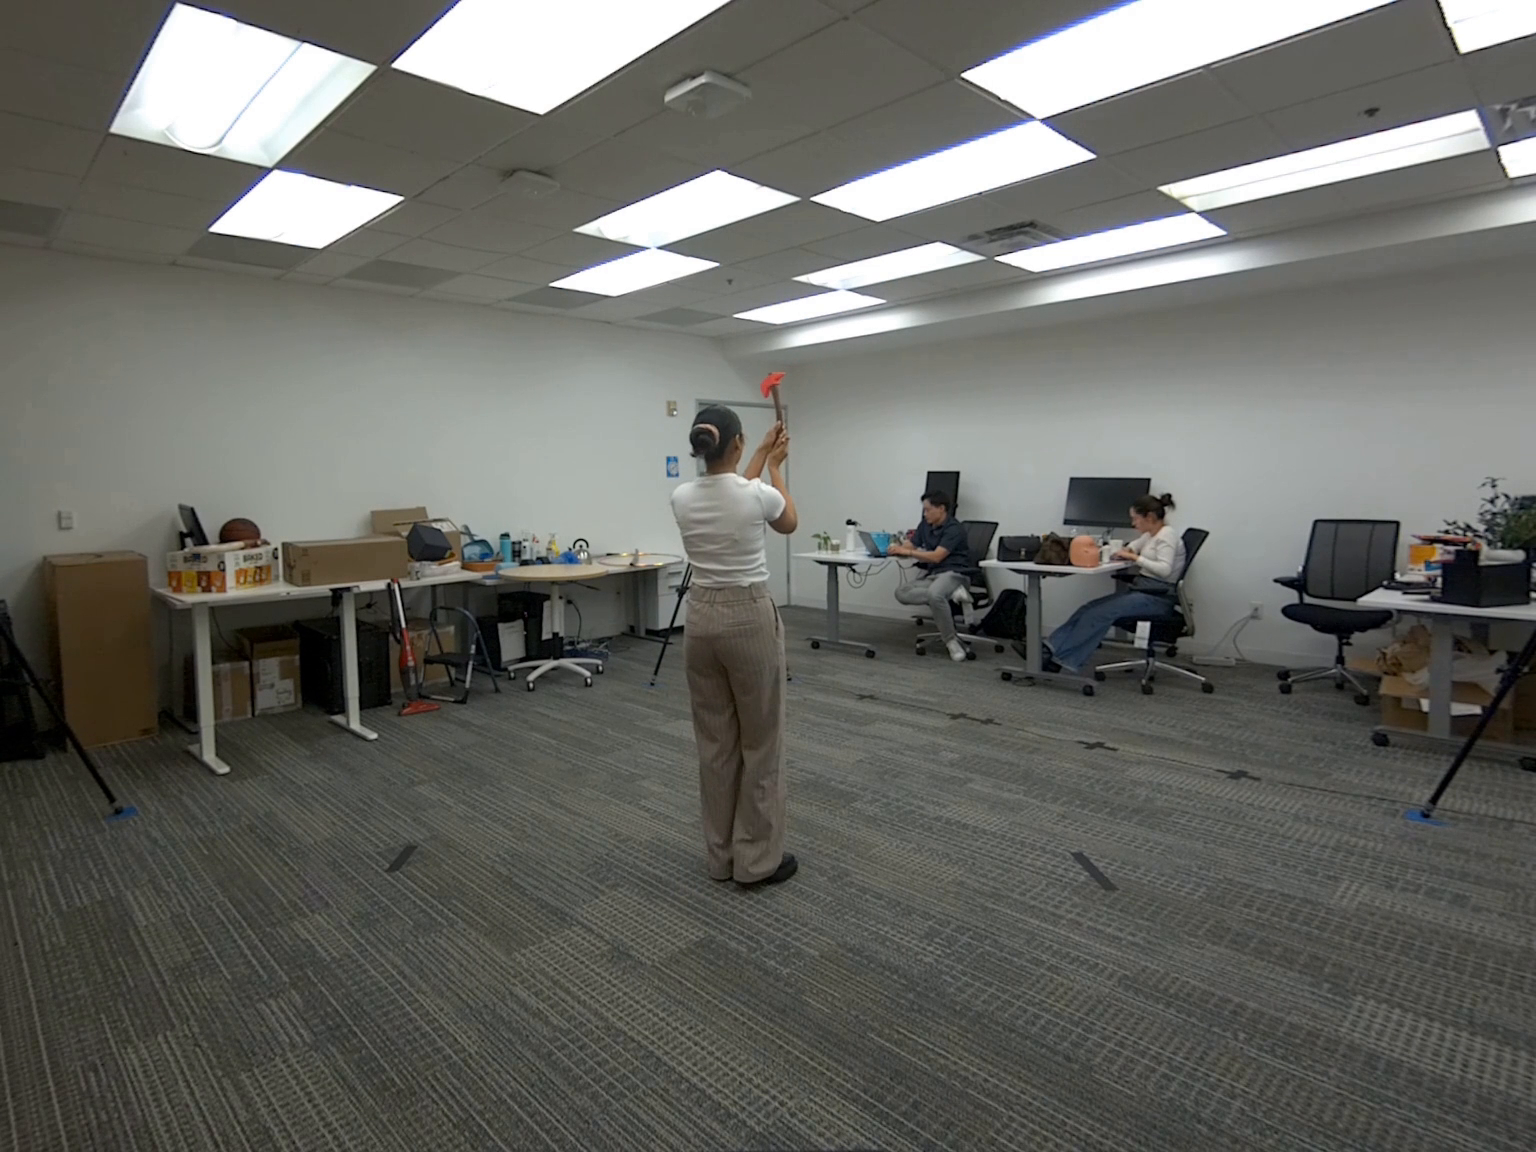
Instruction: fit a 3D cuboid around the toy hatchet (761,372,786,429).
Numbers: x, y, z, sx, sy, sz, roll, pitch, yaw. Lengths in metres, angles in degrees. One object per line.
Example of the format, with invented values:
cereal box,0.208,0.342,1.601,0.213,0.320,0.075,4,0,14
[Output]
toy hatchet,0.013,-0.639,3.242,0.029,0.269,0.135,-3,7,-44
